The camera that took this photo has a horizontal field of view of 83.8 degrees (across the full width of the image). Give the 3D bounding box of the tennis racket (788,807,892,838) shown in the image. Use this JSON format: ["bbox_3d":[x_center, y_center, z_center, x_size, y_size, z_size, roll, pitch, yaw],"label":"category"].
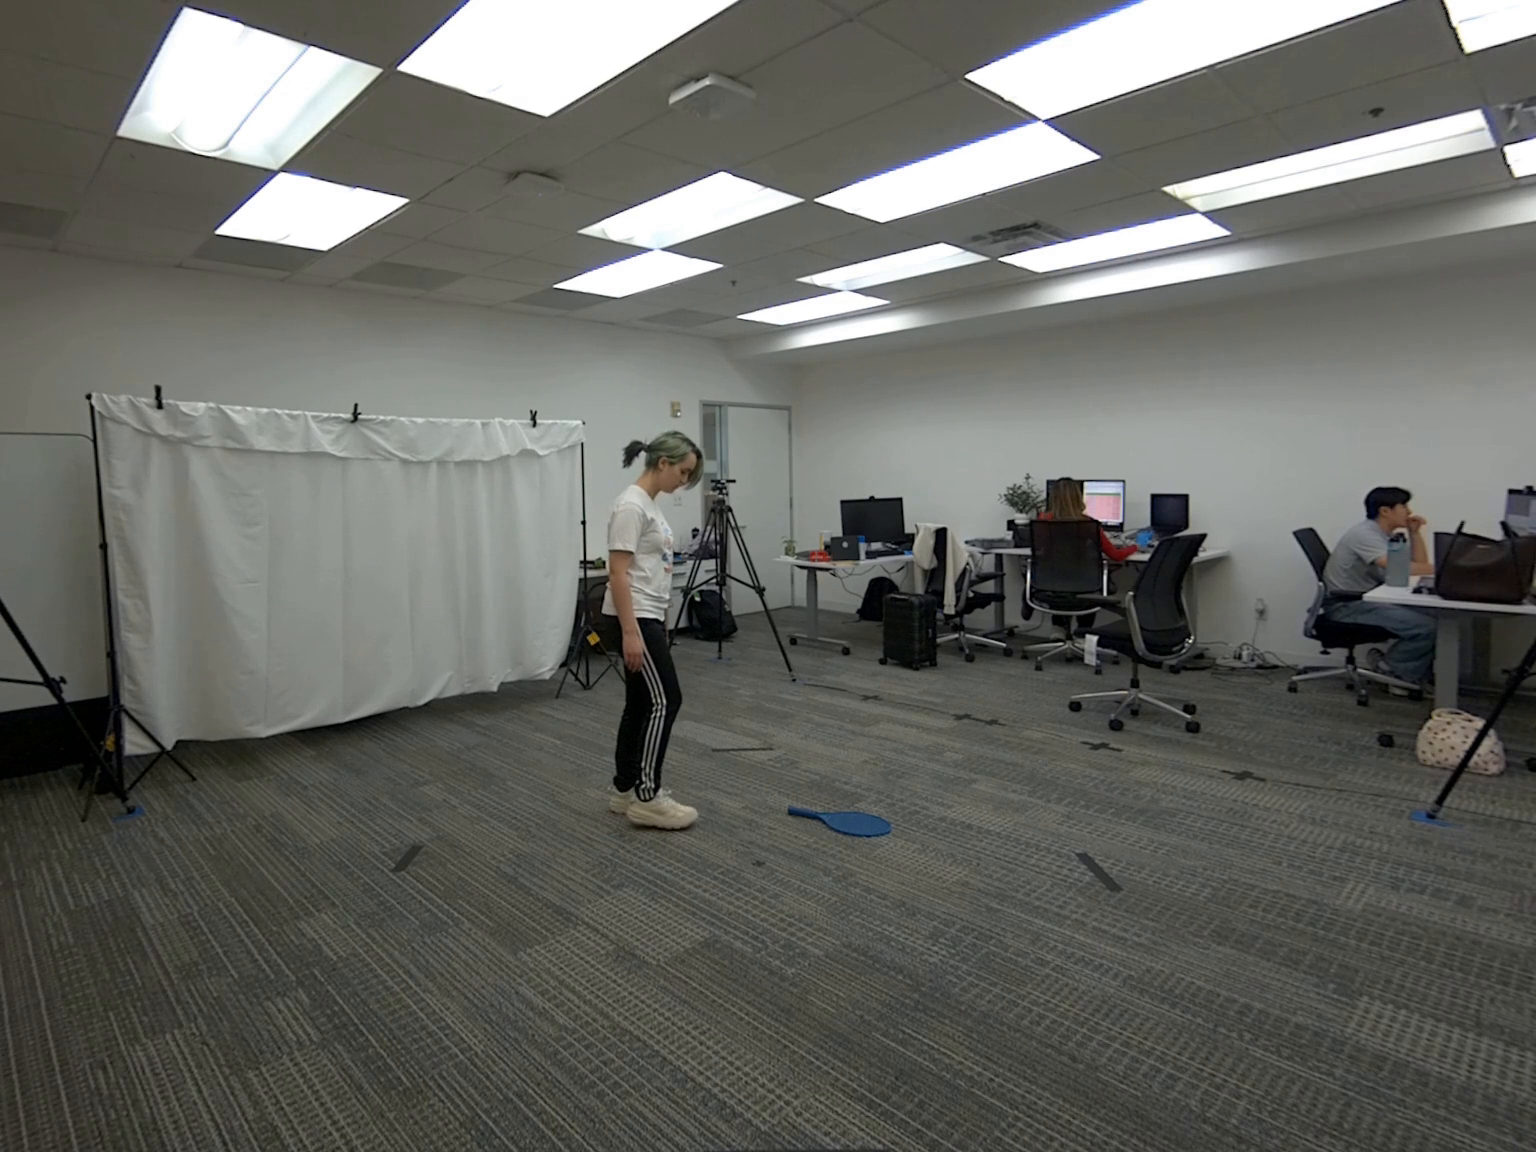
[{"bbox_3d":[0.285,0.985,3.469,0.444,0.031,0.209,4,8,28],"label":"tennis racket"}]
